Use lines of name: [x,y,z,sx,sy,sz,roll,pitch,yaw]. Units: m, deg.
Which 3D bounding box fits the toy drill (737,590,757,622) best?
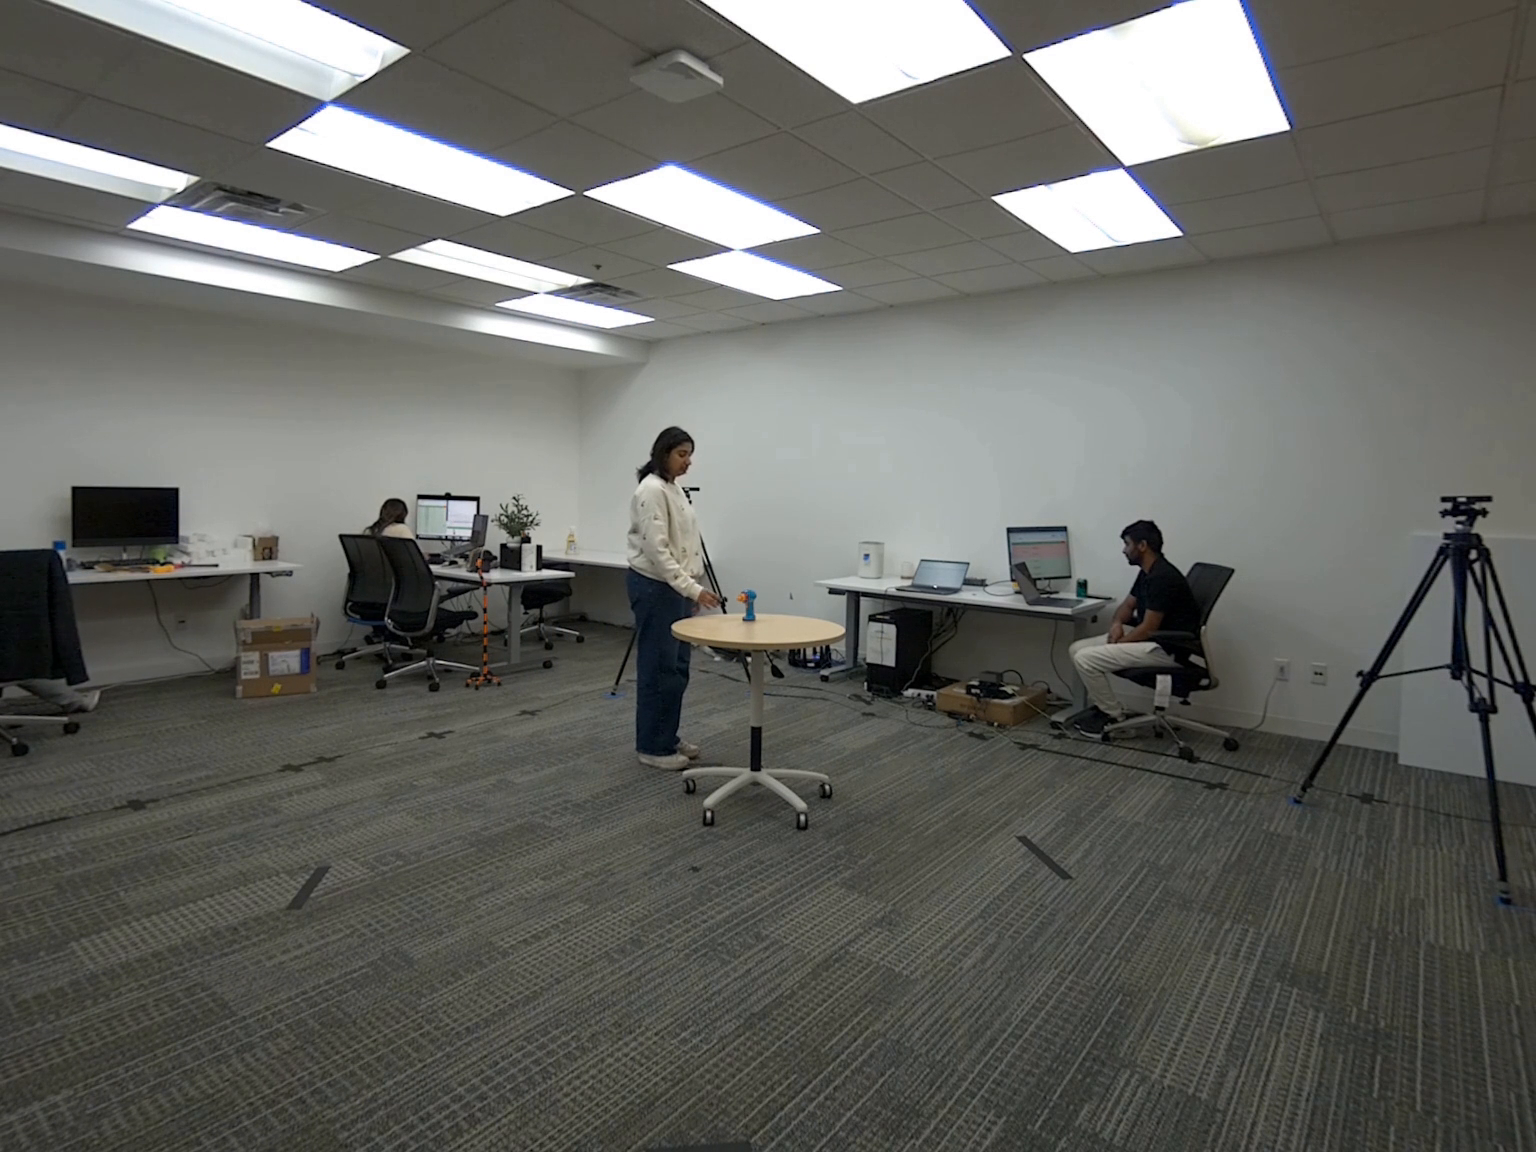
toy drill: [-0.106,0.132,3.915,0.062,0.145,0.166,5,5,21]
